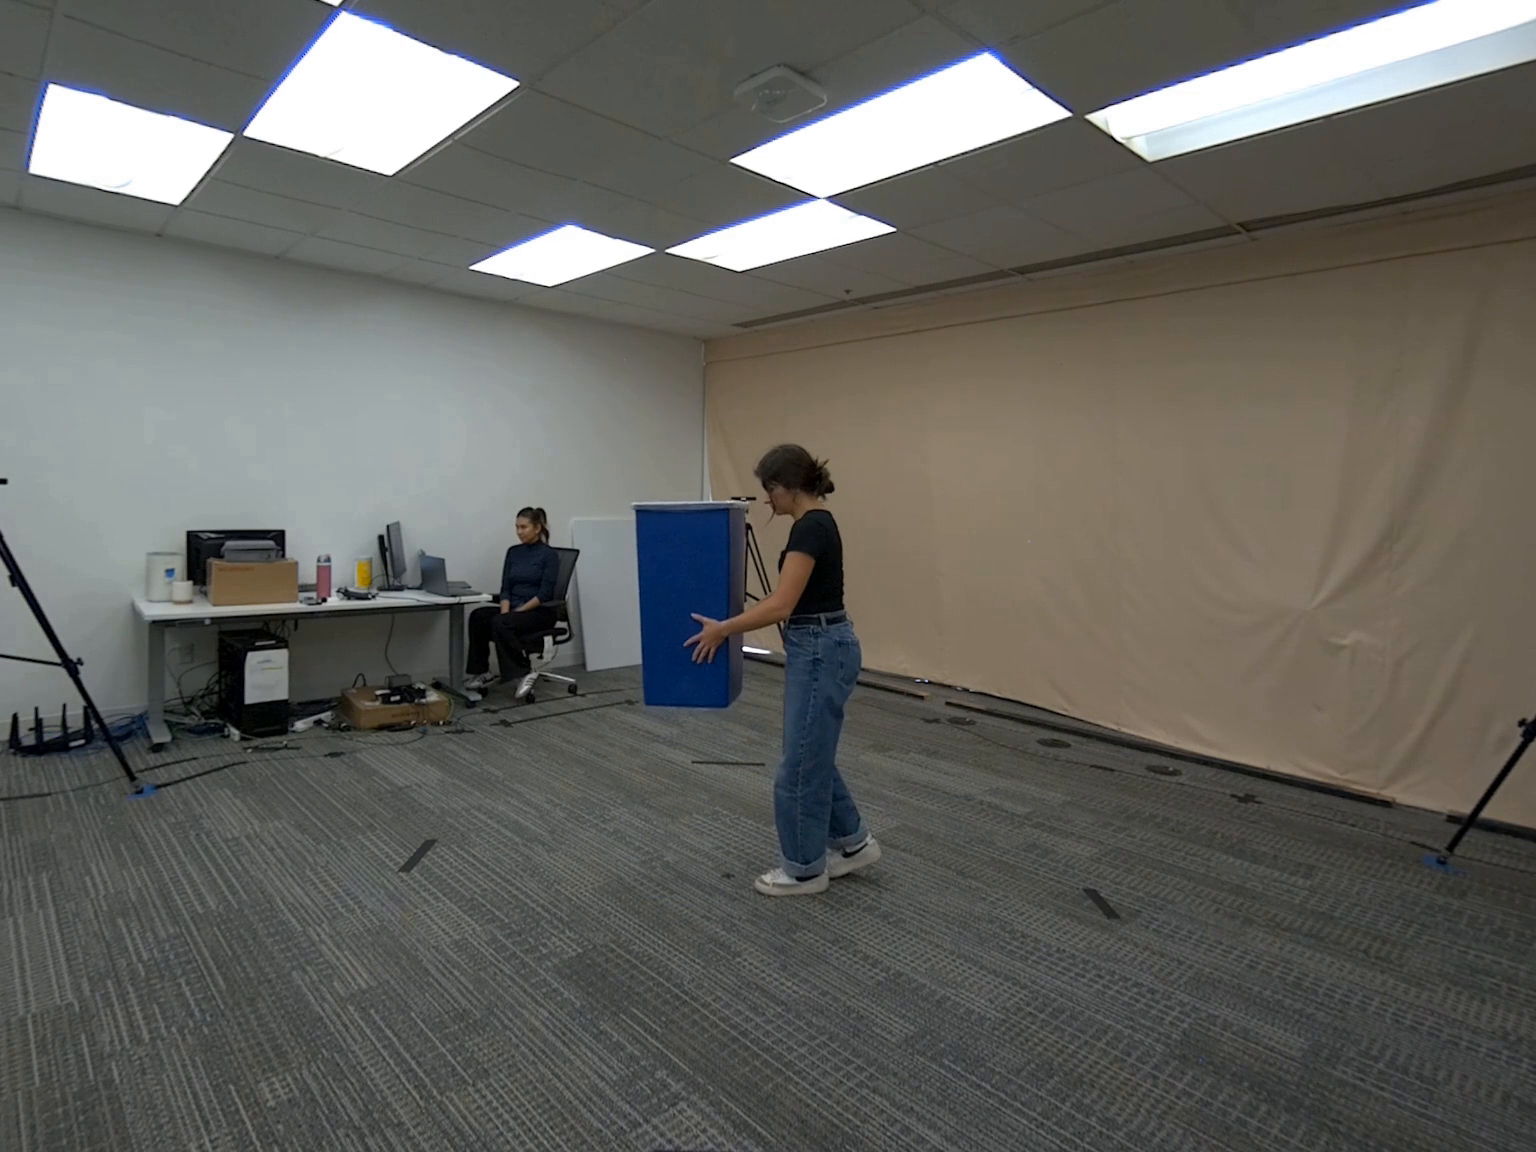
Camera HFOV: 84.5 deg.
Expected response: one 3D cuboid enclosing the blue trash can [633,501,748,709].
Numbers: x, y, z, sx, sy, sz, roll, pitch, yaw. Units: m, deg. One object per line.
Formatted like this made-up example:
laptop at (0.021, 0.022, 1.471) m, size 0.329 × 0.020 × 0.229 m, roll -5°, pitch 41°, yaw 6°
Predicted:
blue trash can at (-0.267, 0.090, 3.047) m, size 0.381 × 0.713 × 0.371 m, roll 0°, pitch 1°, yaw 10°
